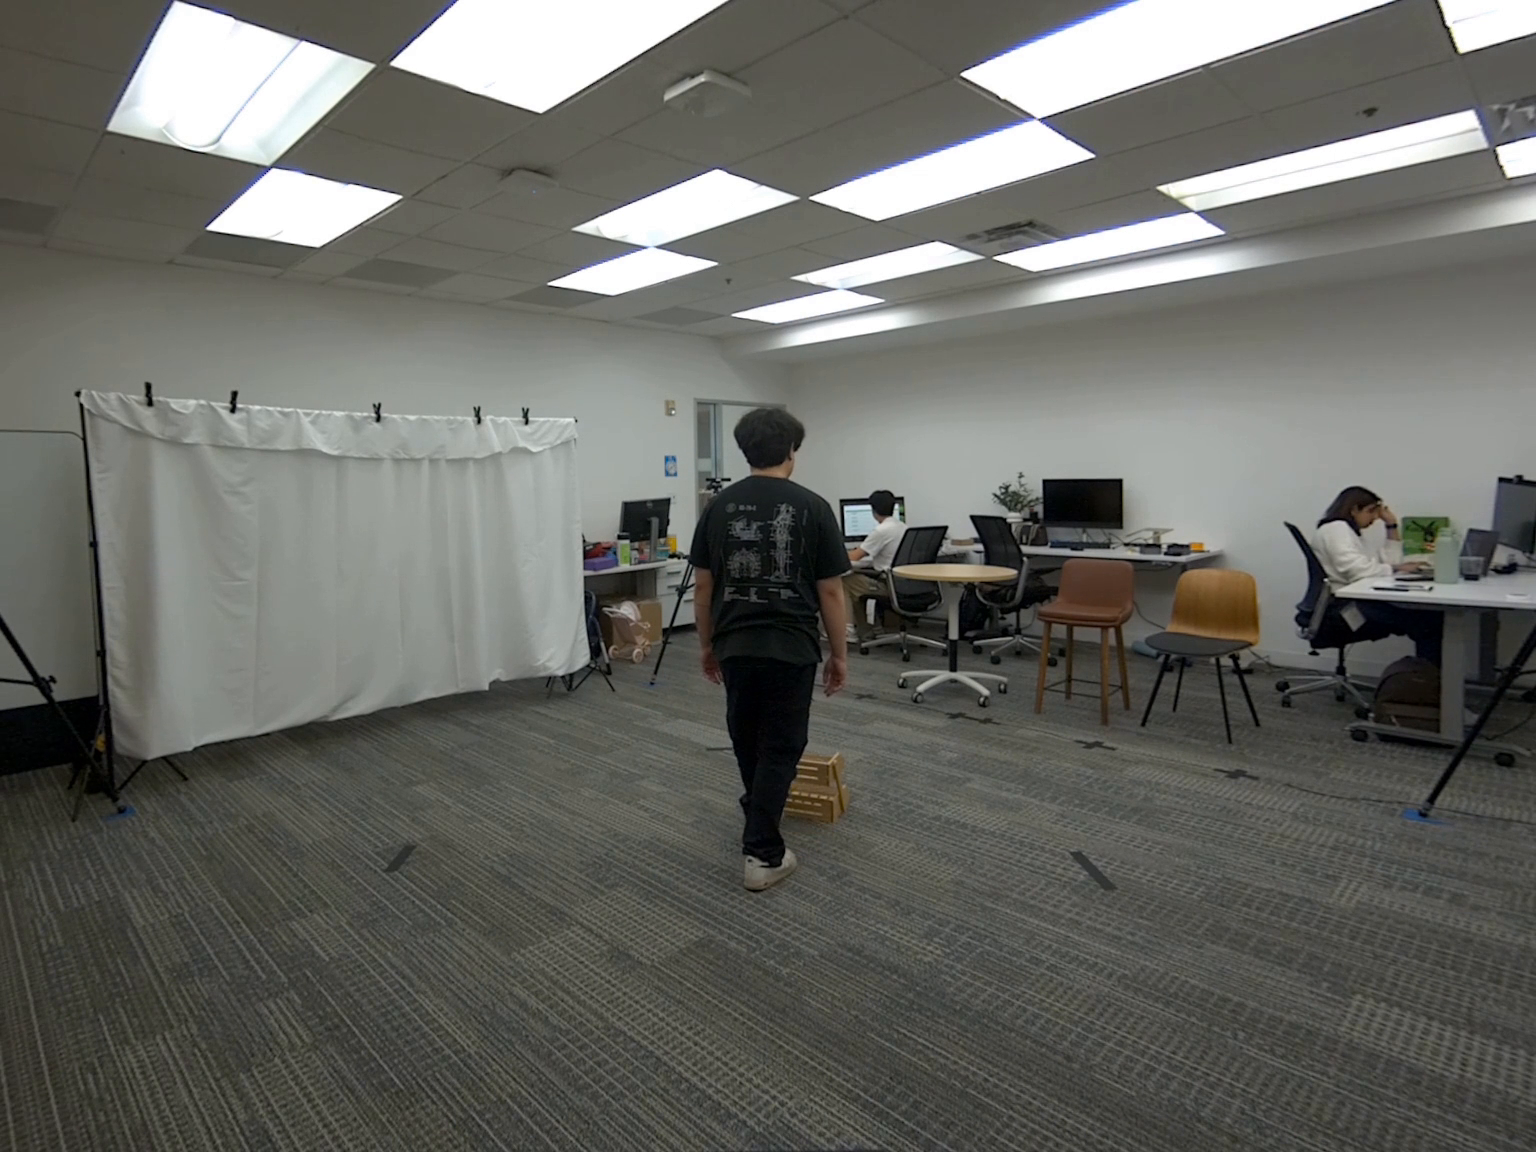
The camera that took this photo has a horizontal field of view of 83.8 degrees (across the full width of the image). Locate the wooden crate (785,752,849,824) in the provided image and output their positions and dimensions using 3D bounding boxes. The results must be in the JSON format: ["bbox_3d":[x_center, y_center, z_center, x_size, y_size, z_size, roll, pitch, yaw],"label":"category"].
[{"bbox_3d":[0.163,0.850,3.597,0.331,0.272,0.297,1,6,23],"label":"wooden crate"}]
